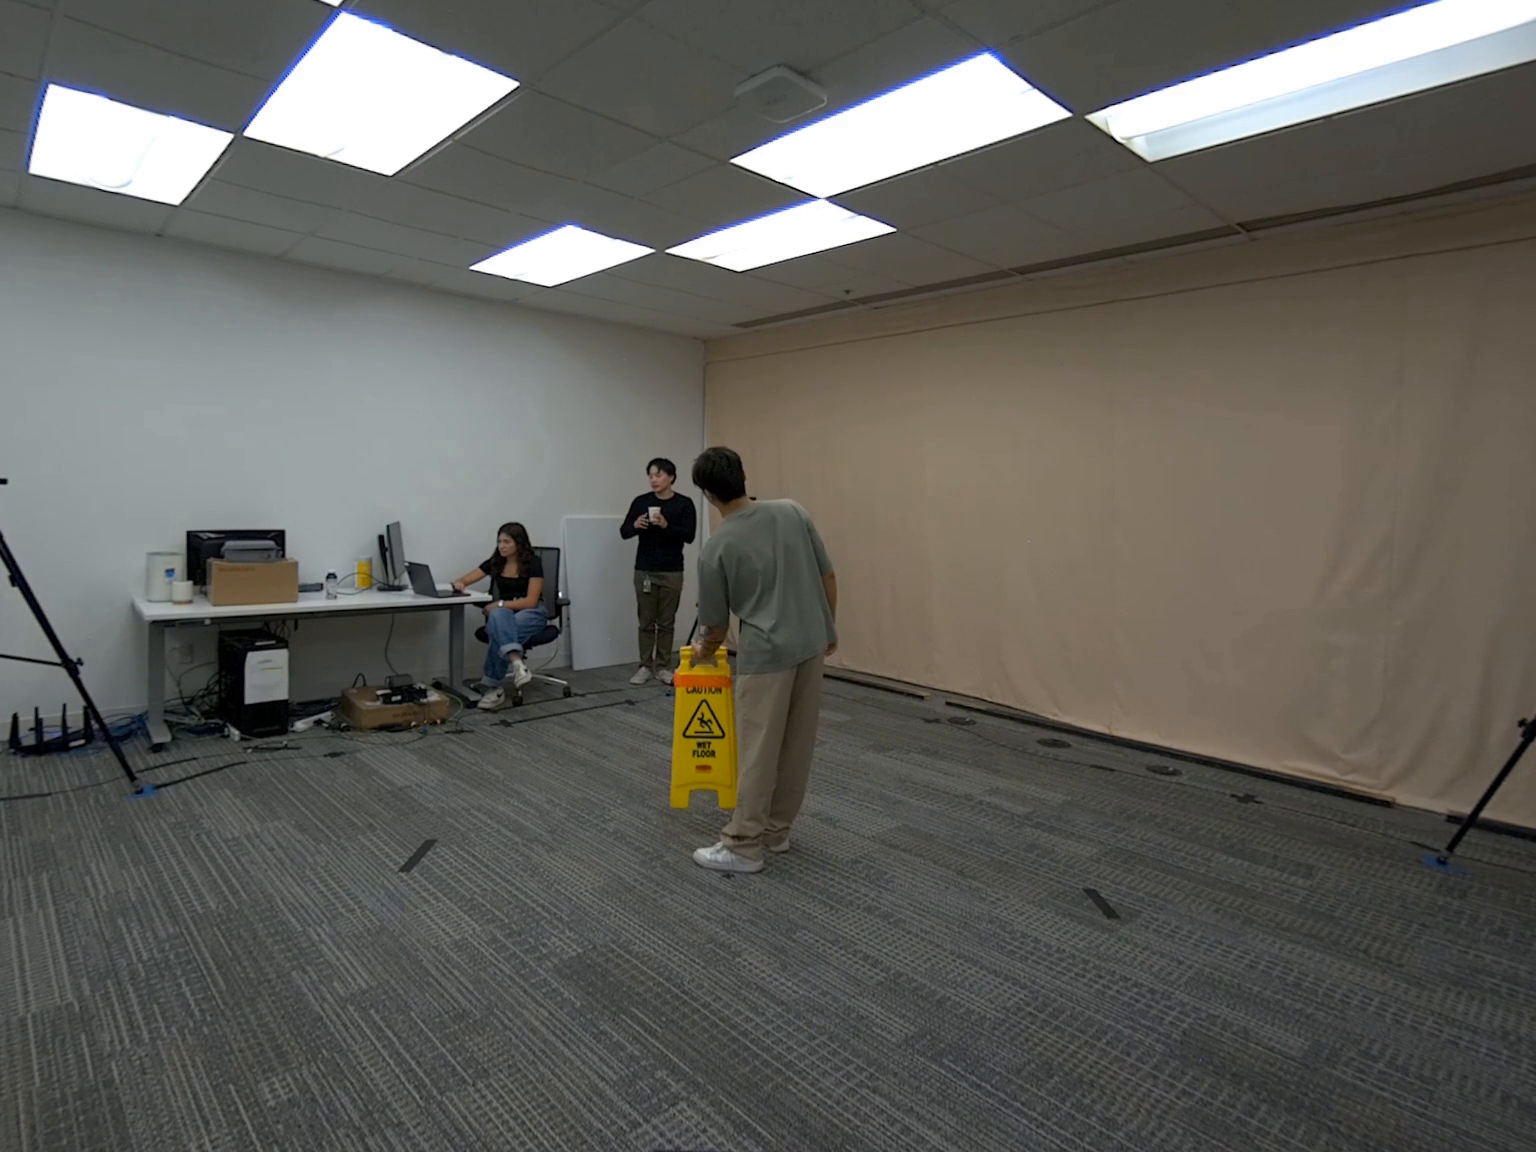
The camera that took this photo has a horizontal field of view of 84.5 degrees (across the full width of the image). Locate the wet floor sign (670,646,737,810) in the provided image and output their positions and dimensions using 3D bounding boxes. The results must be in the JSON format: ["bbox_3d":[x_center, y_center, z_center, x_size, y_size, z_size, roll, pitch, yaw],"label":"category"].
[{"bbox_3d":[-0.286,0.625,3.573,0.283,0.644,0.290,-1,3,3],"label":"wet floor sign"}]
